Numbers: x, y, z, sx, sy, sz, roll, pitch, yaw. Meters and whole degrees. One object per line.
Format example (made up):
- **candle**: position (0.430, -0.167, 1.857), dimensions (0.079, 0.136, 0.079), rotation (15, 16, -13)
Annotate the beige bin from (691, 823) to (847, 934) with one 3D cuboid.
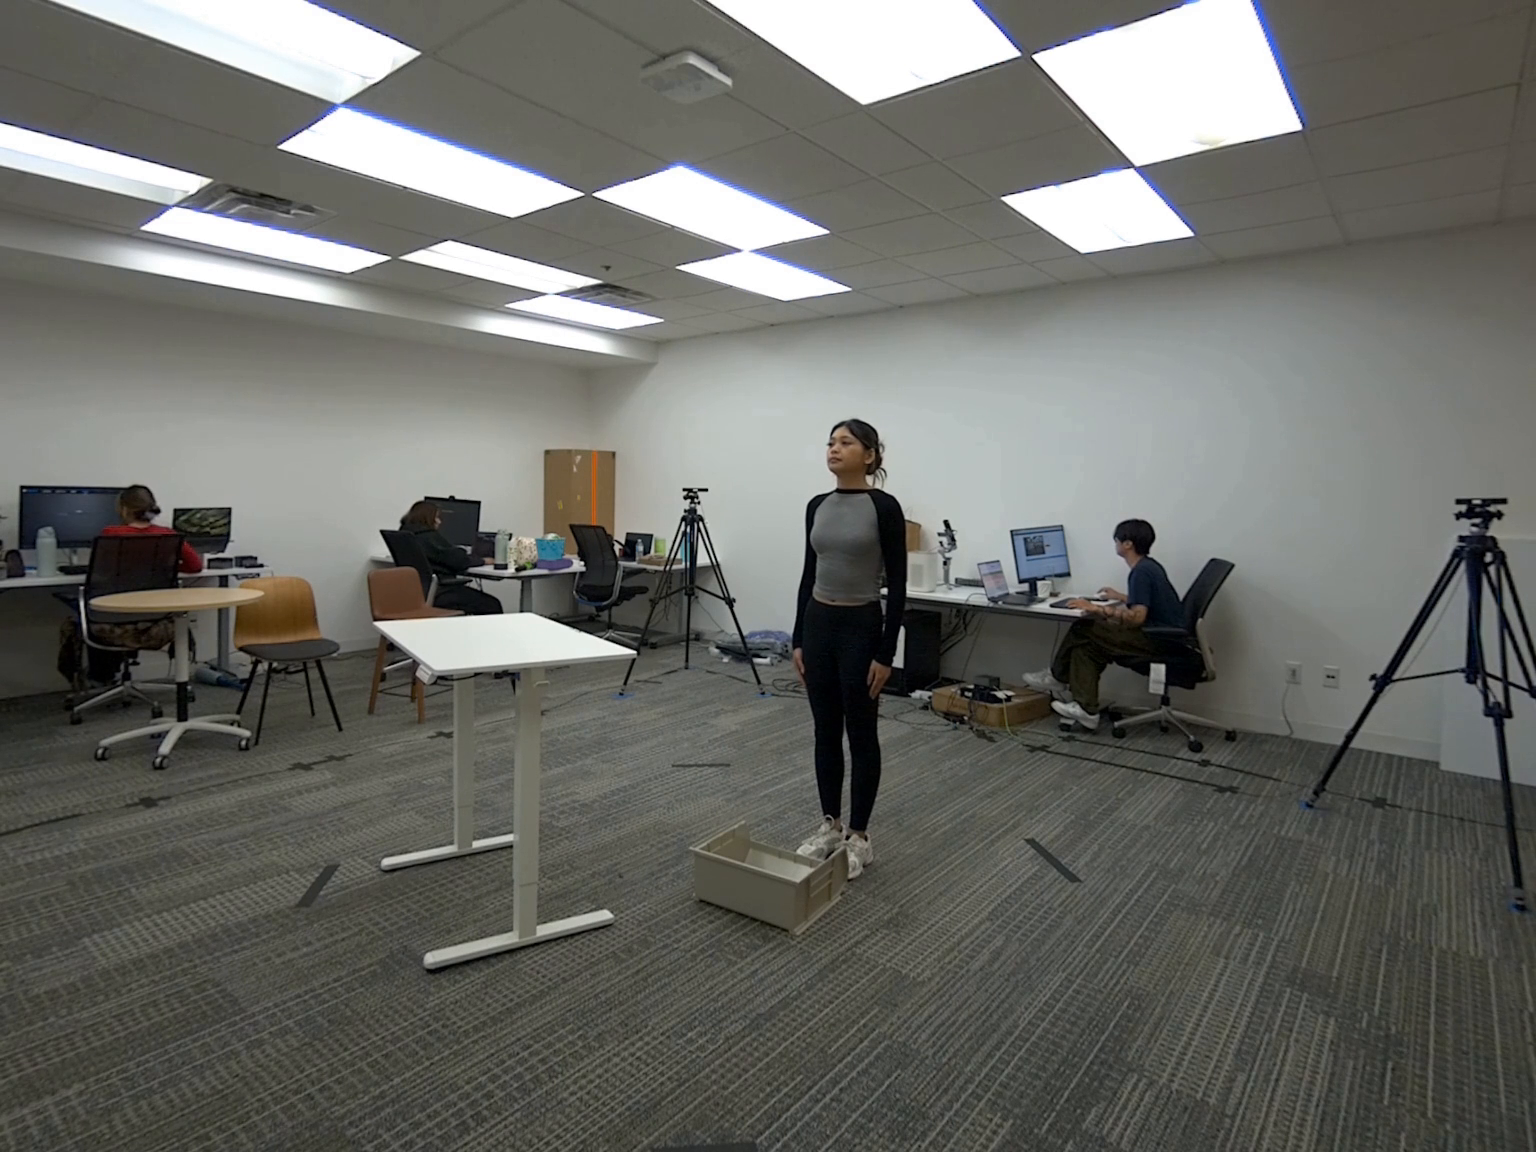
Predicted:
- **beige bin**: position (0.000, 1.005, 2.901), dimensions (0.435, 0.188, 0.367), rotation (5, 7, 32)
